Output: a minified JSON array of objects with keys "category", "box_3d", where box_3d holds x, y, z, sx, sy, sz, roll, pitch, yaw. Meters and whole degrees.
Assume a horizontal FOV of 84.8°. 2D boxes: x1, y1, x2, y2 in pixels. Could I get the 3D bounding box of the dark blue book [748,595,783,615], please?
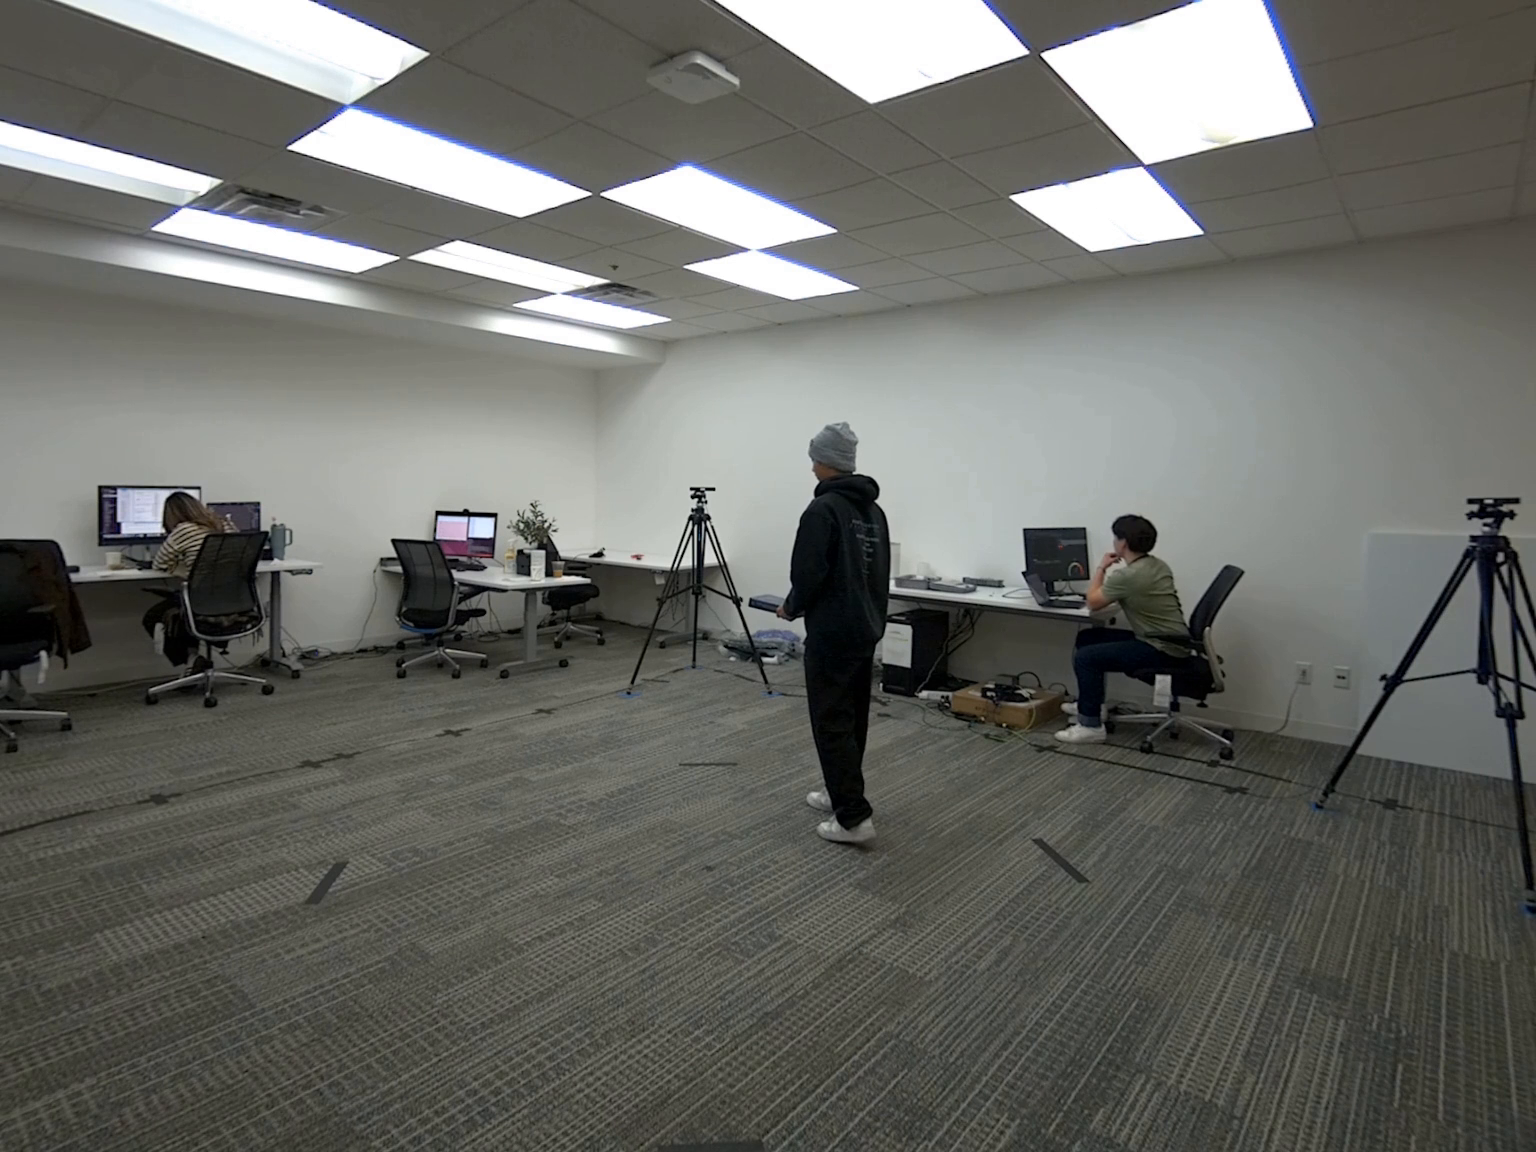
[{"category":"dark blue book","box_3d":[0.055,0.129,3.776,0.253,0.045,0.159,11,11,31]}]
